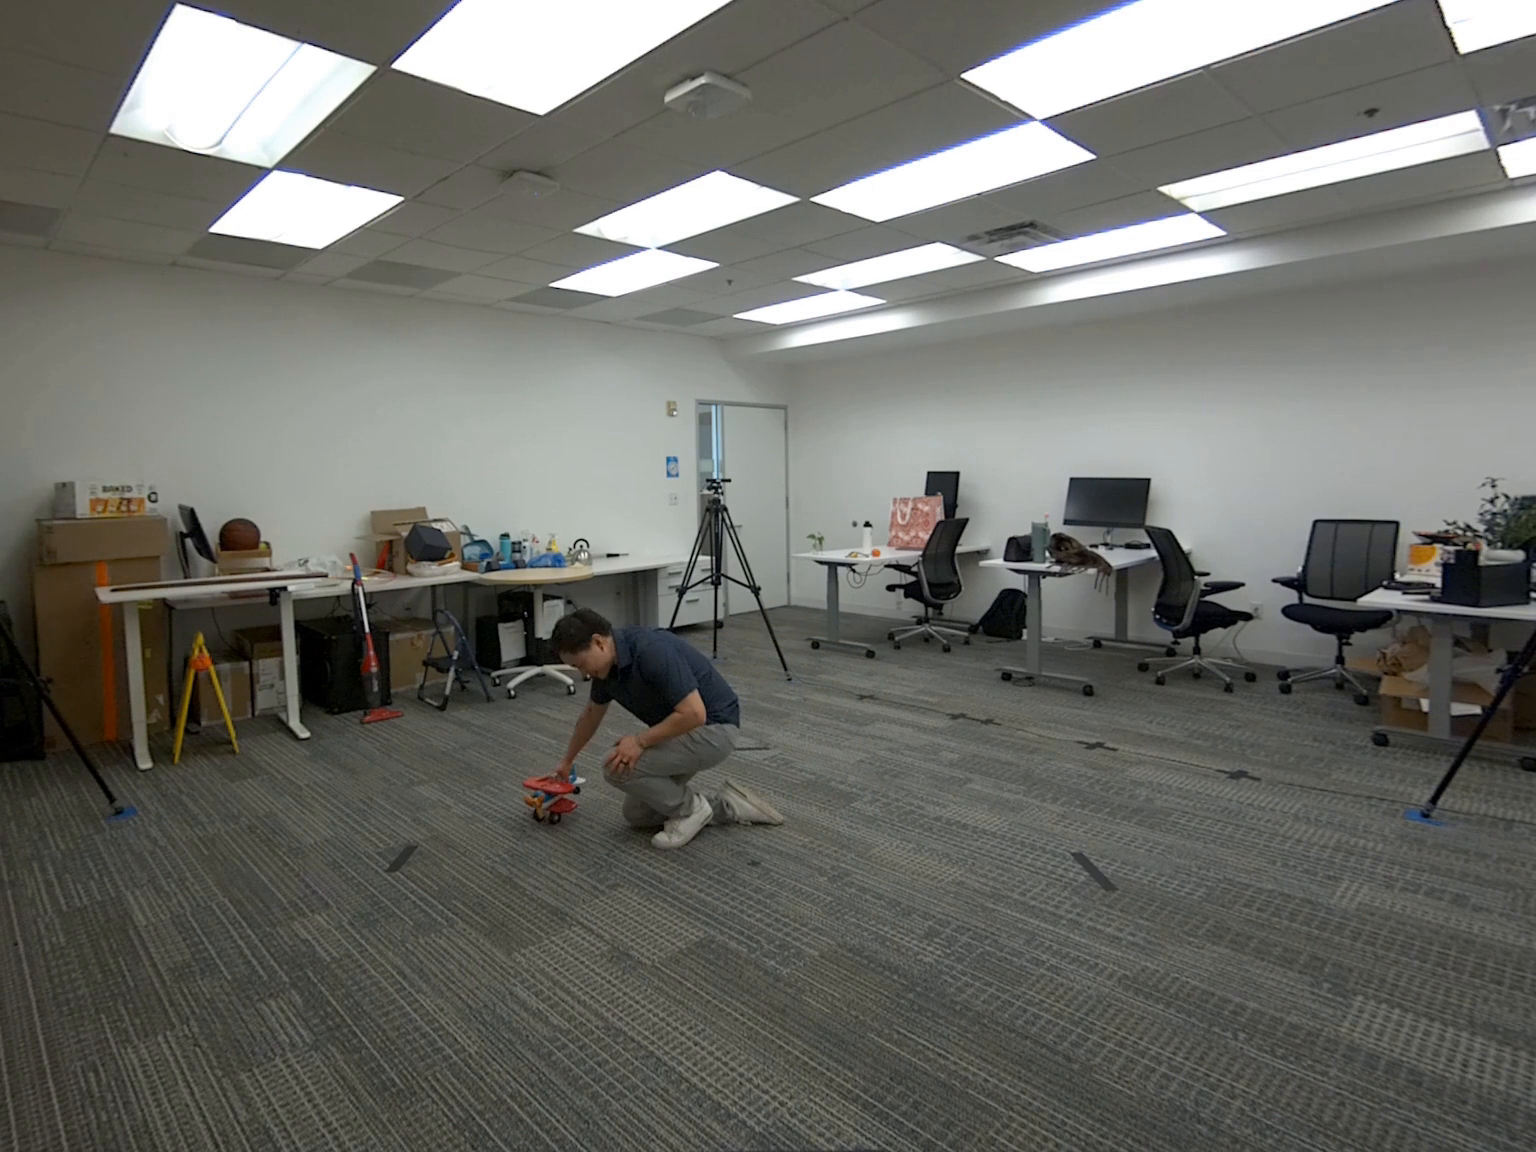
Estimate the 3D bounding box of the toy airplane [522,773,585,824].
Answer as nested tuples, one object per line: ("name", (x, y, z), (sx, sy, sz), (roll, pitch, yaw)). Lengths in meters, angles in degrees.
("toy airplane", (-0.896, 0.911, 3.586), (0.252, 0.153, 0.265), (-11, 24, 3))
